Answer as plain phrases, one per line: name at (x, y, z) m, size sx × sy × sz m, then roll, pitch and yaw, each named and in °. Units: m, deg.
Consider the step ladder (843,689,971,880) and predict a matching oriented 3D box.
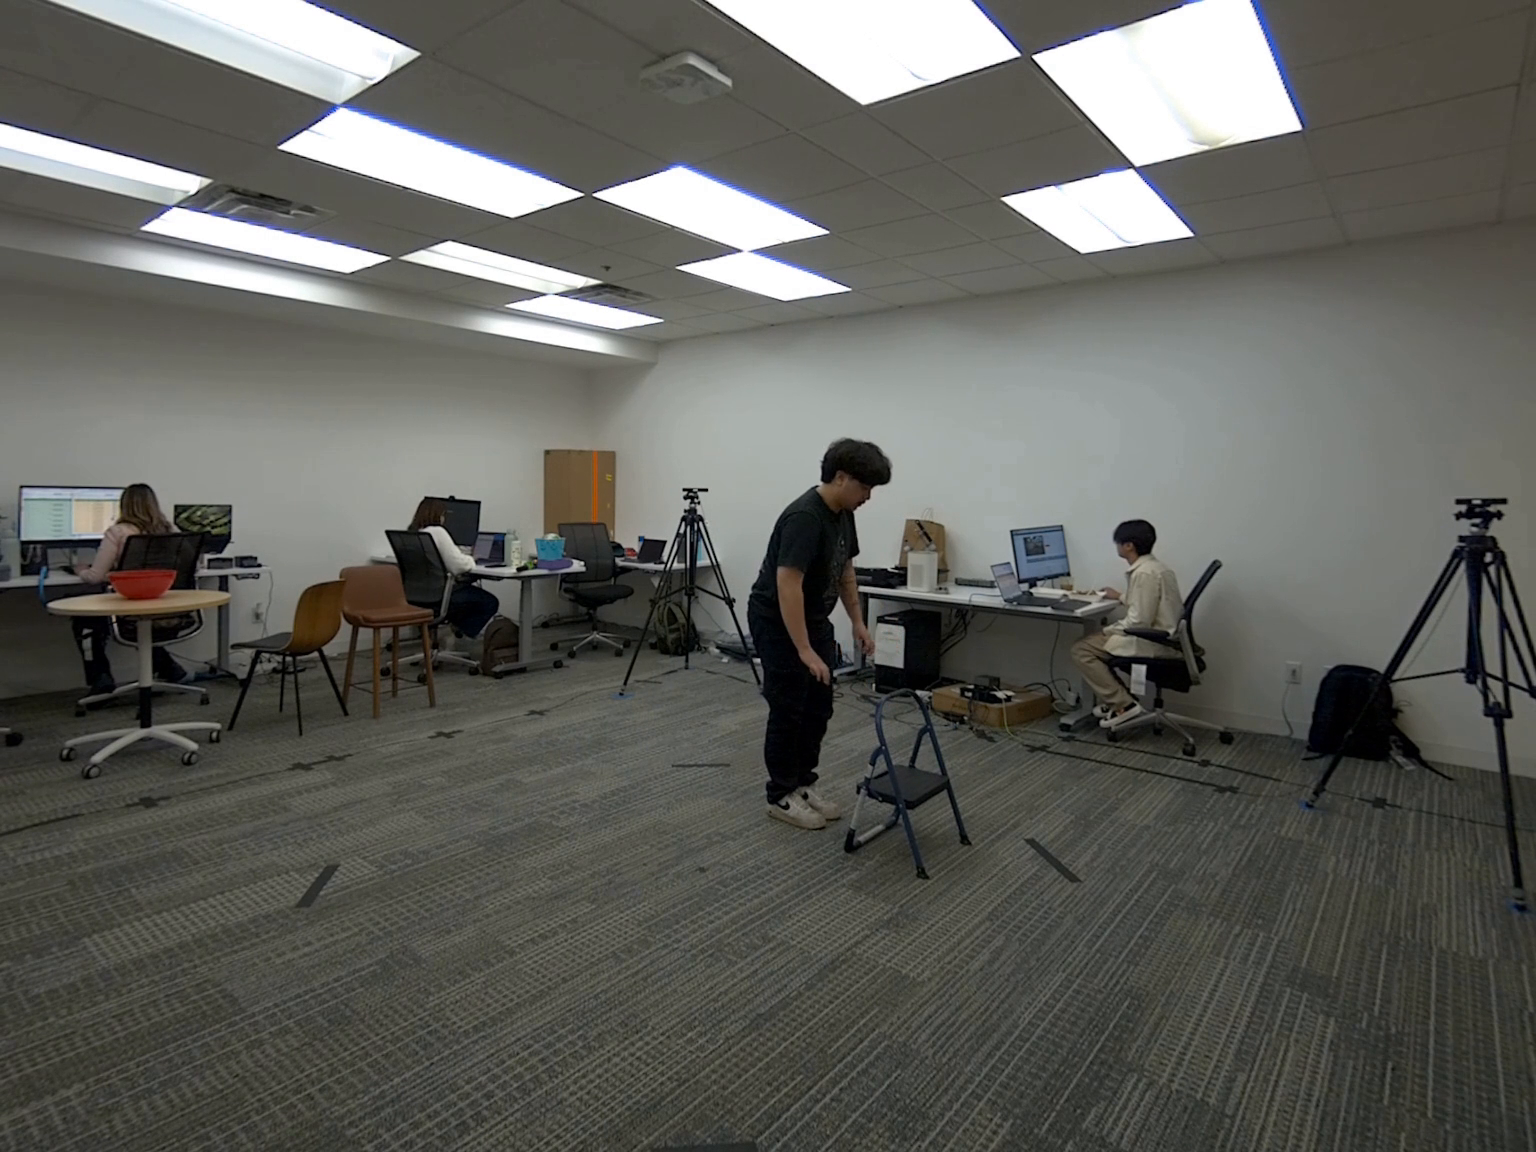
step ladder at (0.553, 0.763, 3.326) m, size 0.361 × 0.604 × 0.418 m, roll 5°, pitch 4°, yaw 36°
